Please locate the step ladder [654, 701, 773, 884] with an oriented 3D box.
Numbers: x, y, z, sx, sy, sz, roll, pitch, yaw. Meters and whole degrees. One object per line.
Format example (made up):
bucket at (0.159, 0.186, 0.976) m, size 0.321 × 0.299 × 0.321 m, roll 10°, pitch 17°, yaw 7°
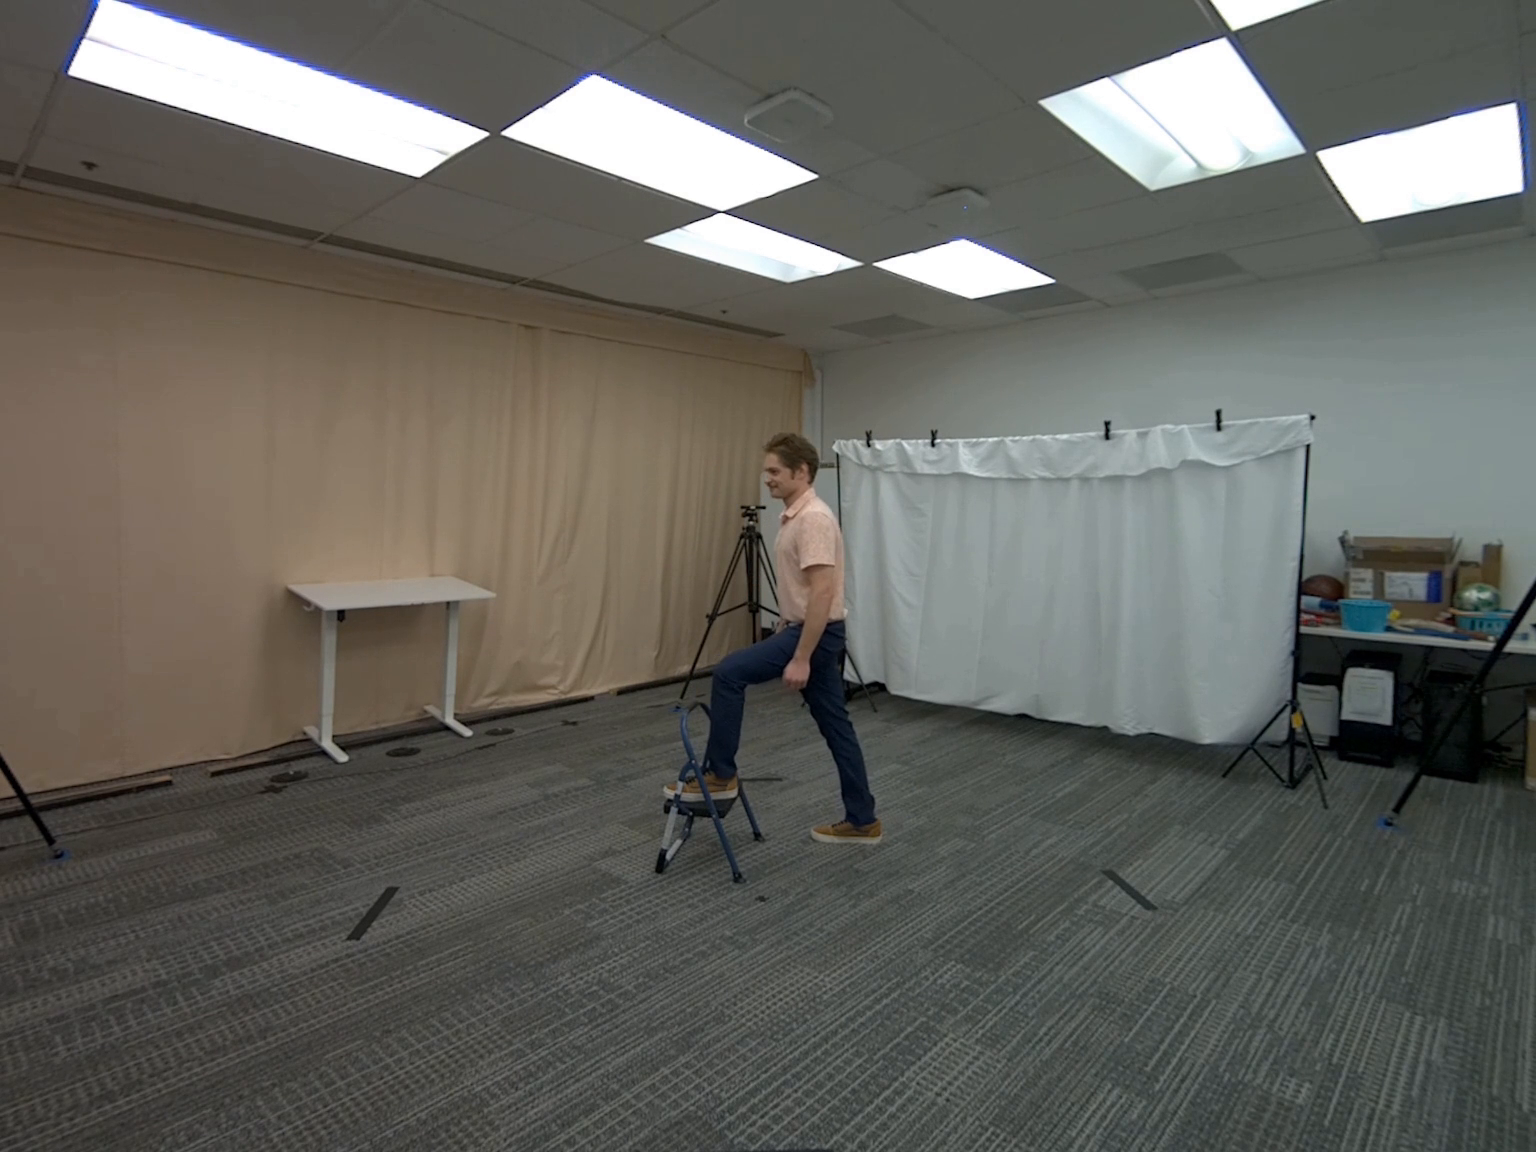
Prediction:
step ladder at (-0.225, 0.813, 3.338) m, size 0.354 × 0.605 × 0.426 m, roll 0°, pitch 3°, yaw 11°
